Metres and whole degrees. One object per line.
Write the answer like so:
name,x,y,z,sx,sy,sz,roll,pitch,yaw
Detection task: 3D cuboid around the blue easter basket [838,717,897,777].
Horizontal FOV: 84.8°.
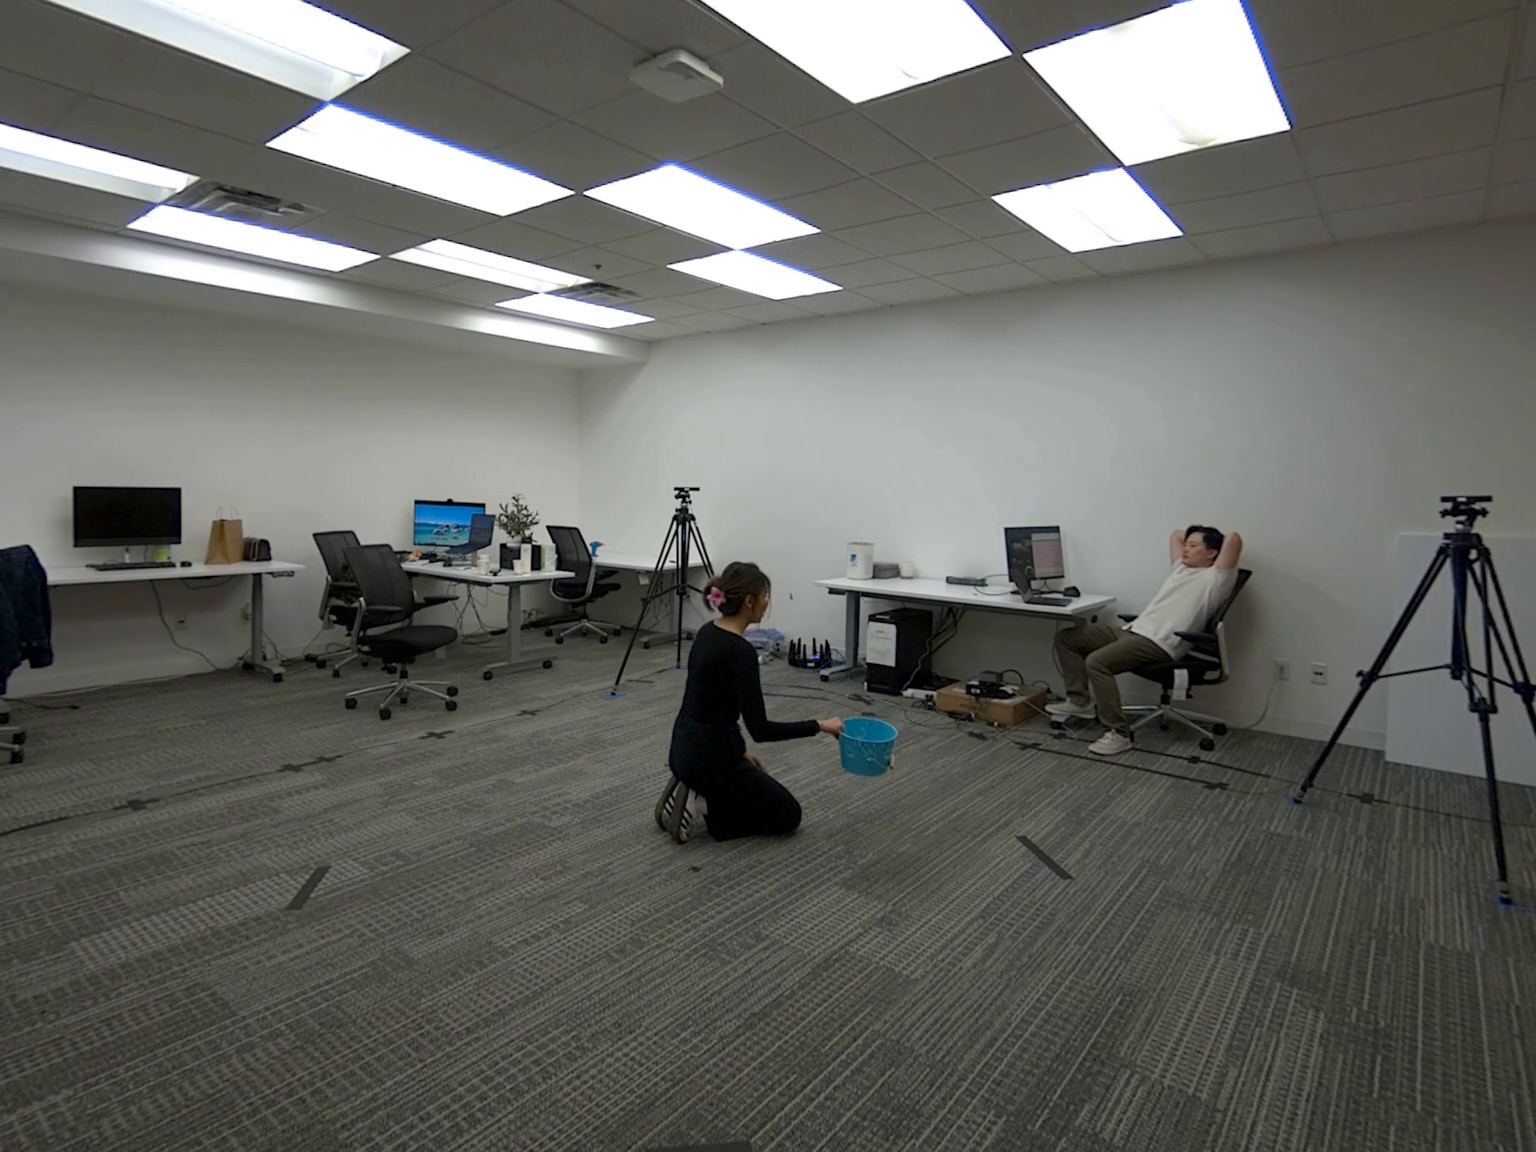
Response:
blue easter basket,0.370,0.665,3.302,0.243,0.154,0.246,2,12,-2
